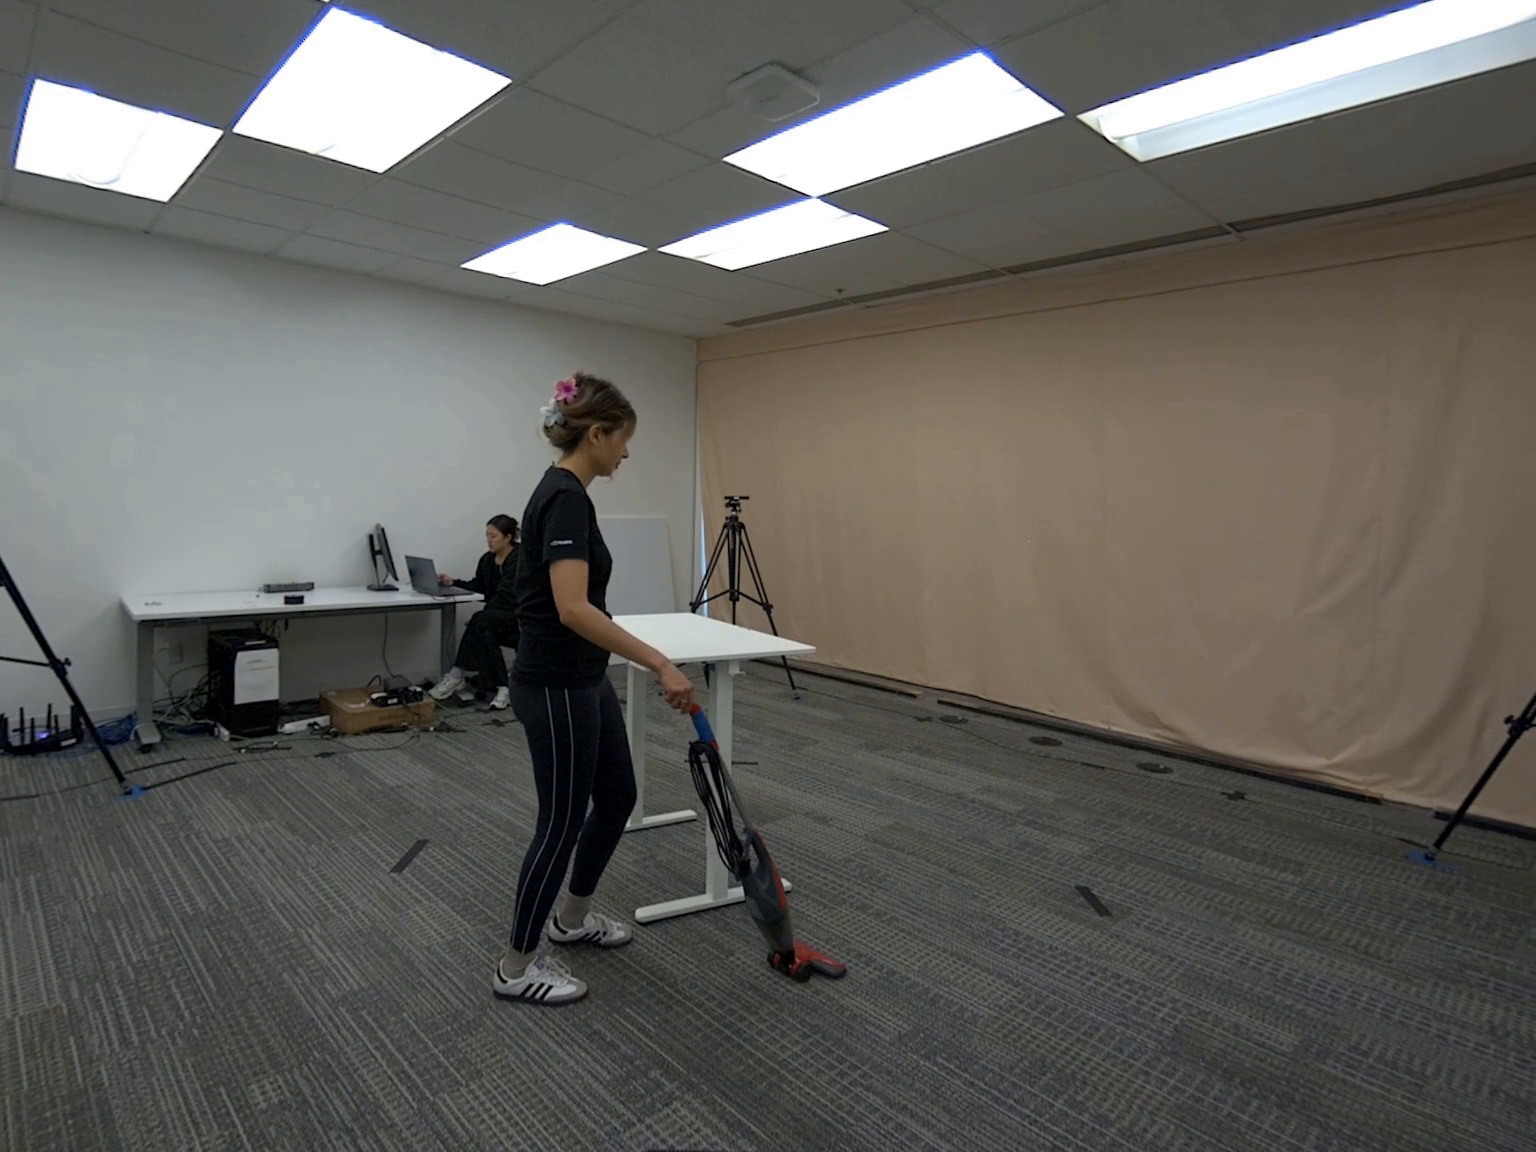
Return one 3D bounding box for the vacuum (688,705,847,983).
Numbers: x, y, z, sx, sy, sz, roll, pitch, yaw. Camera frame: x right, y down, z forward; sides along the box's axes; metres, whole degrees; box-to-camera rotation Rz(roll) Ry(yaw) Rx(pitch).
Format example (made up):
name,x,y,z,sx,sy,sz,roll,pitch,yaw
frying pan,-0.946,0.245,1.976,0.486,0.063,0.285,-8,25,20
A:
name,x,y,z,sx,sy,sz,roll,pitch,yaw
vacuum,-0.065,0.730,2.295,0.259,1.026,0.143,6,36,42
